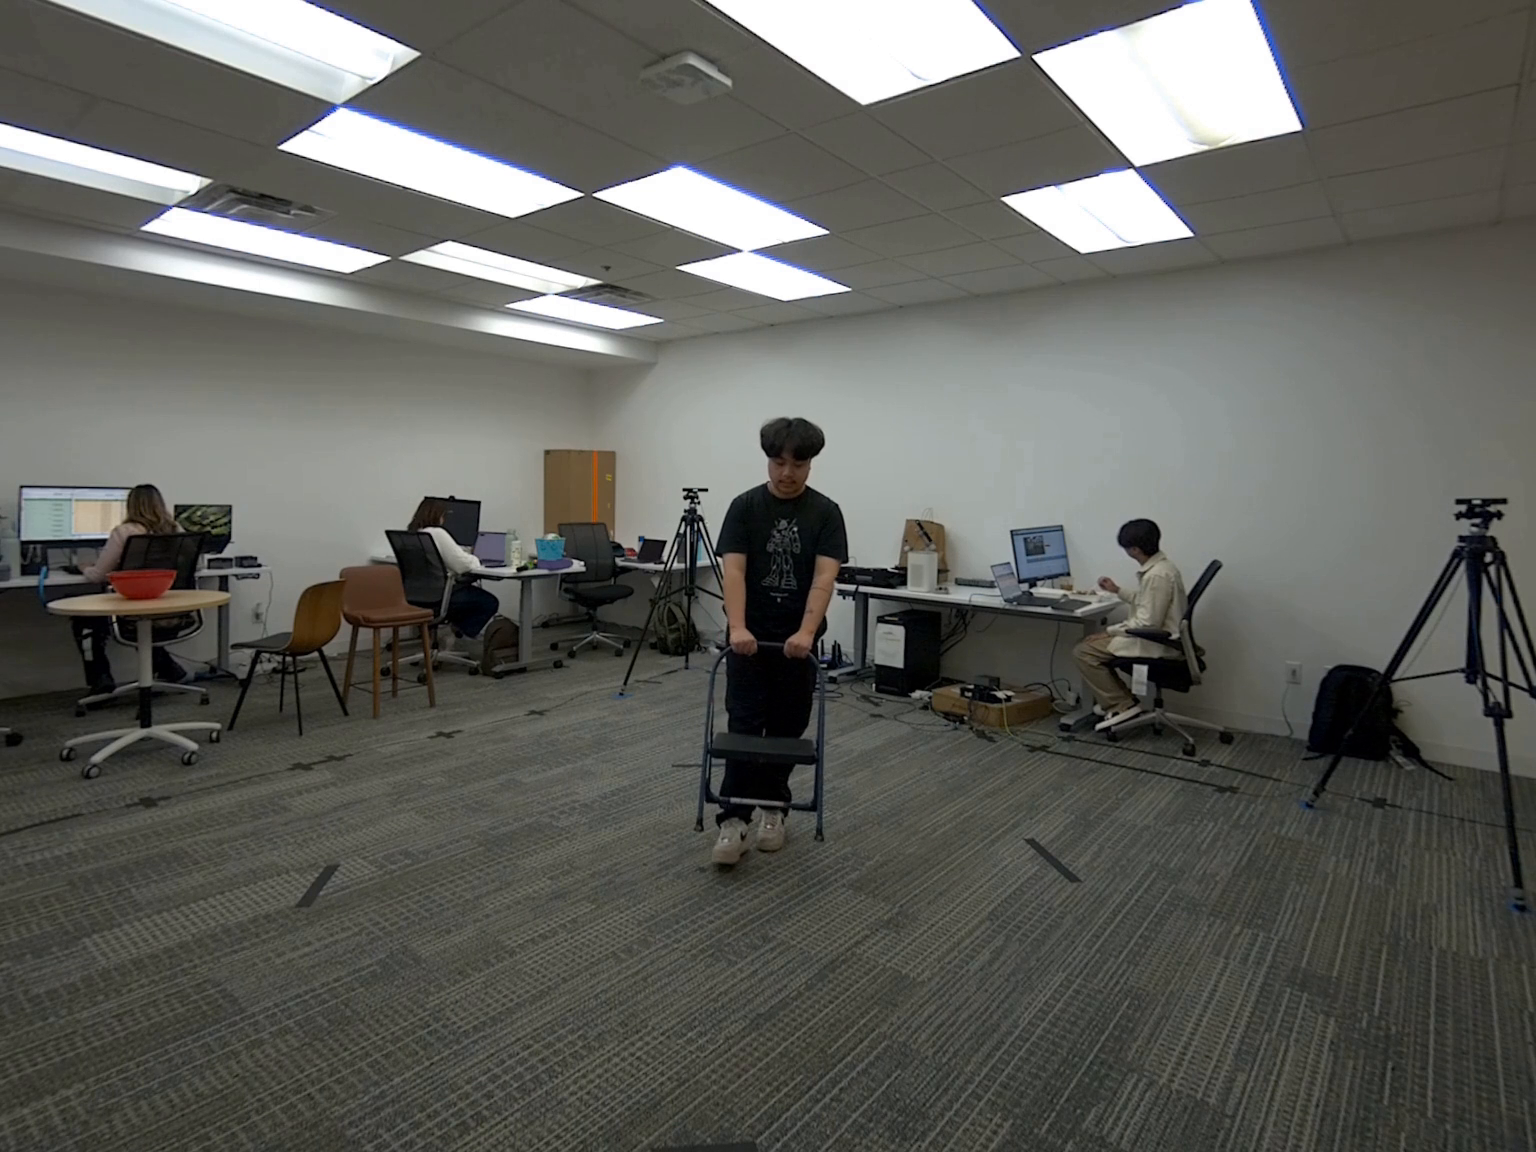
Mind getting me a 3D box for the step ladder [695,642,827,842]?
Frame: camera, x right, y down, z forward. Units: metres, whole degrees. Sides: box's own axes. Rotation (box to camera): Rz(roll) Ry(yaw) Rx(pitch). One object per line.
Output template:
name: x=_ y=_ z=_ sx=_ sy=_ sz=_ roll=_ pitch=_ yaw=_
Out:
step ladder: x=-0.018 y=0.549 z=2.962 sx=0.432 sy=0.607 sz=0.347 roll=3 pitch=-1 yaw=3
